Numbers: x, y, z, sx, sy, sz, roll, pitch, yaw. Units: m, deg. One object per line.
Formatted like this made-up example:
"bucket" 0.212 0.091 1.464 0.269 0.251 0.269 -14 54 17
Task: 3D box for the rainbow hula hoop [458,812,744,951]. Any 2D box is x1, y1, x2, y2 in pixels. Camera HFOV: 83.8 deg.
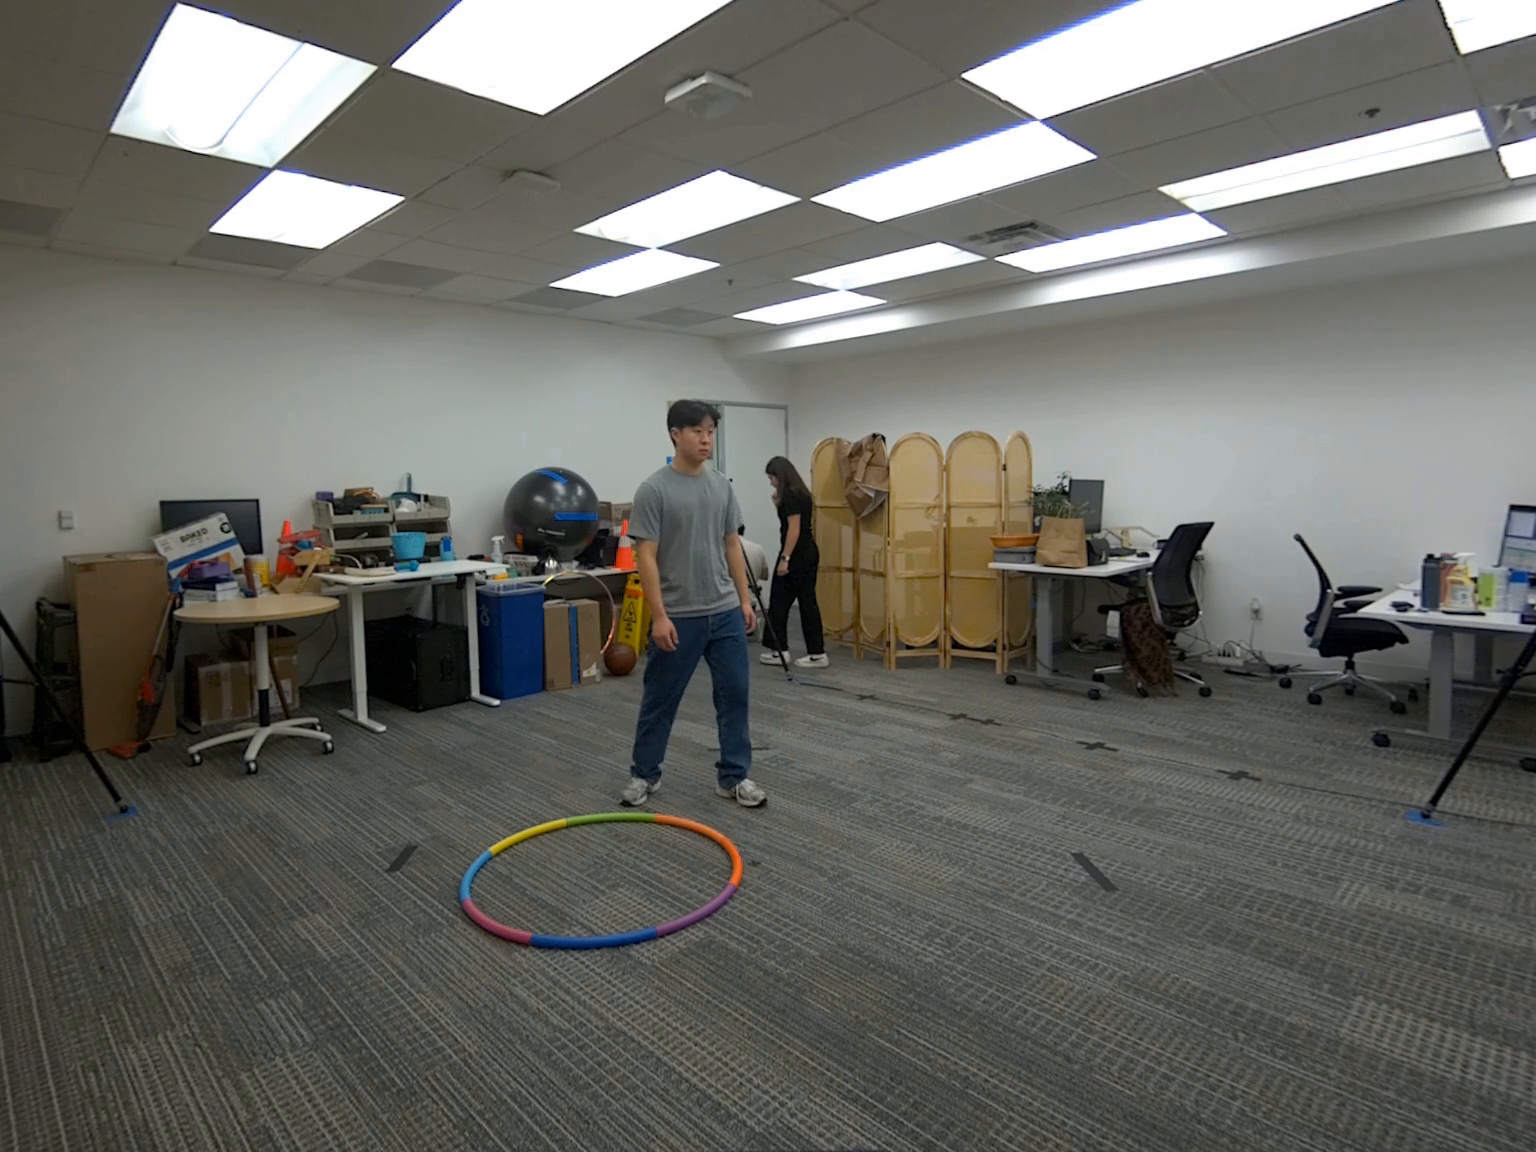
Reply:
"rainbow hula hoop" -0.574 1.030 3.040 0.978 0.035 0.985 -1 7 -2
